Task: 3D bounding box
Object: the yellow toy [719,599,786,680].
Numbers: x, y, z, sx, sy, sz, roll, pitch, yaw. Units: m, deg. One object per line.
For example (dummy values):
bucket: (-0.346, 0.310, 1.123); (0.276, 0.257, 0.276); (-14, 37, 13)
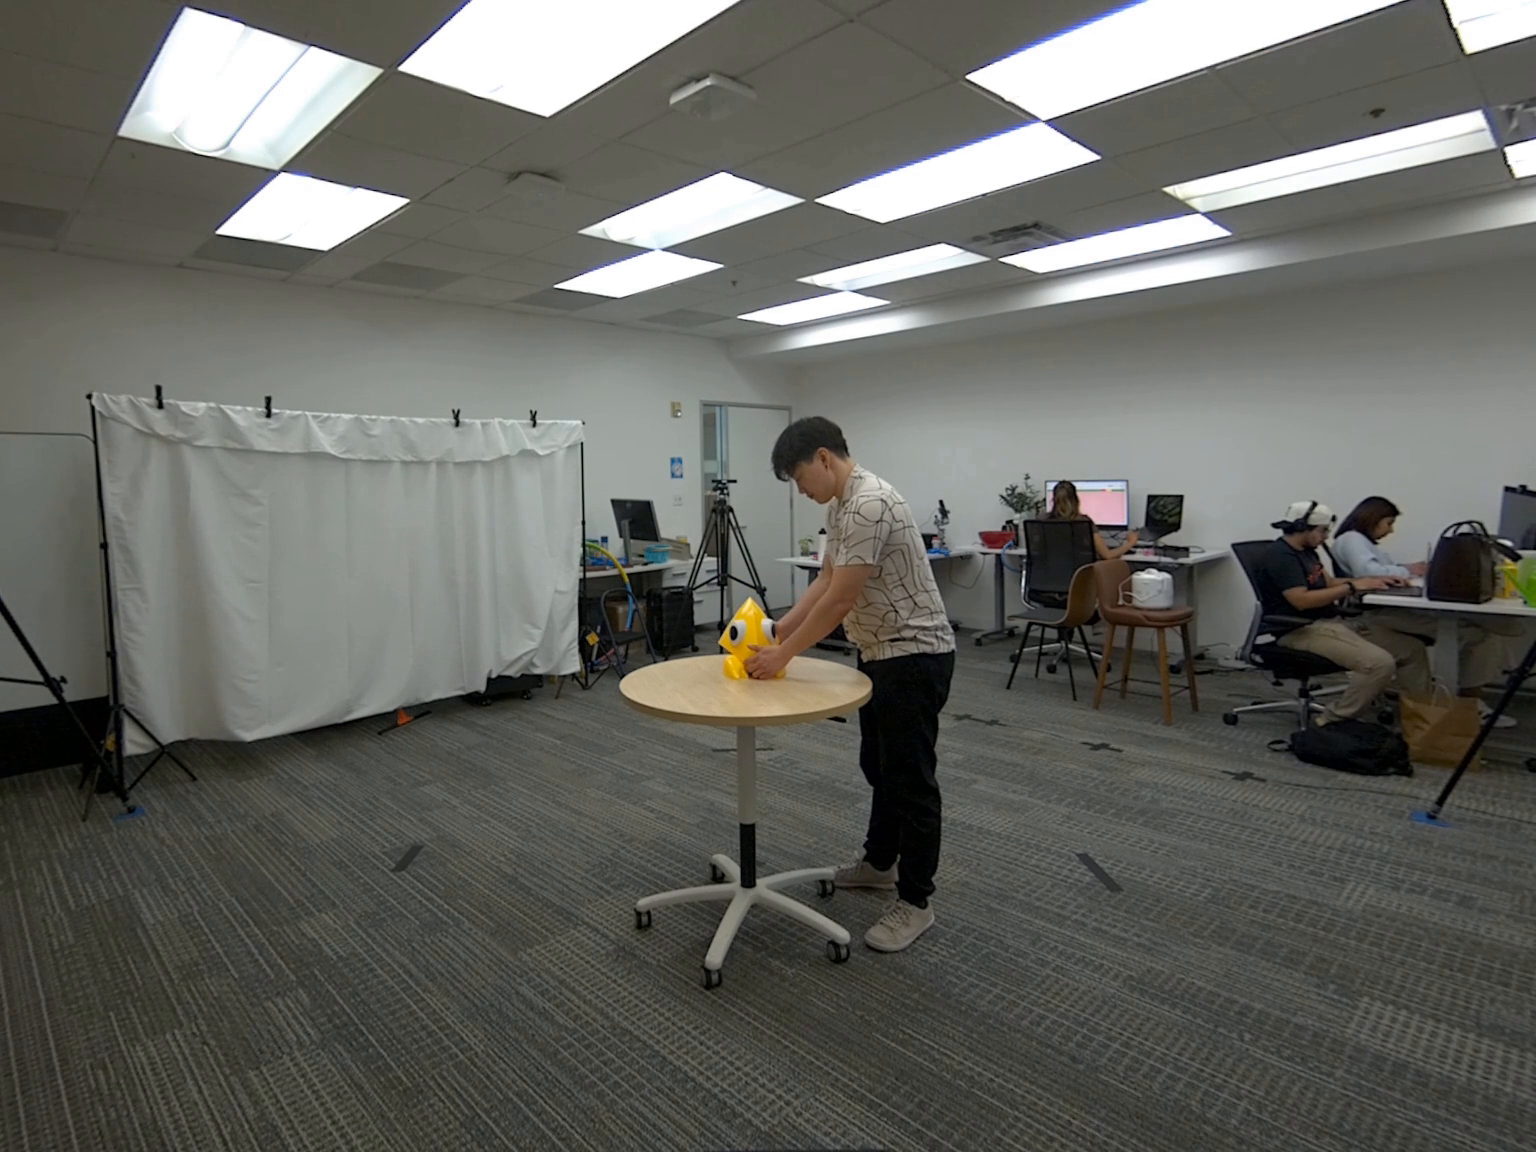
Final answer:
yellow toy: (-0.041, 0.190, 2.722); (0.203, 0.230, 0.195); (-1, 5, -7)
